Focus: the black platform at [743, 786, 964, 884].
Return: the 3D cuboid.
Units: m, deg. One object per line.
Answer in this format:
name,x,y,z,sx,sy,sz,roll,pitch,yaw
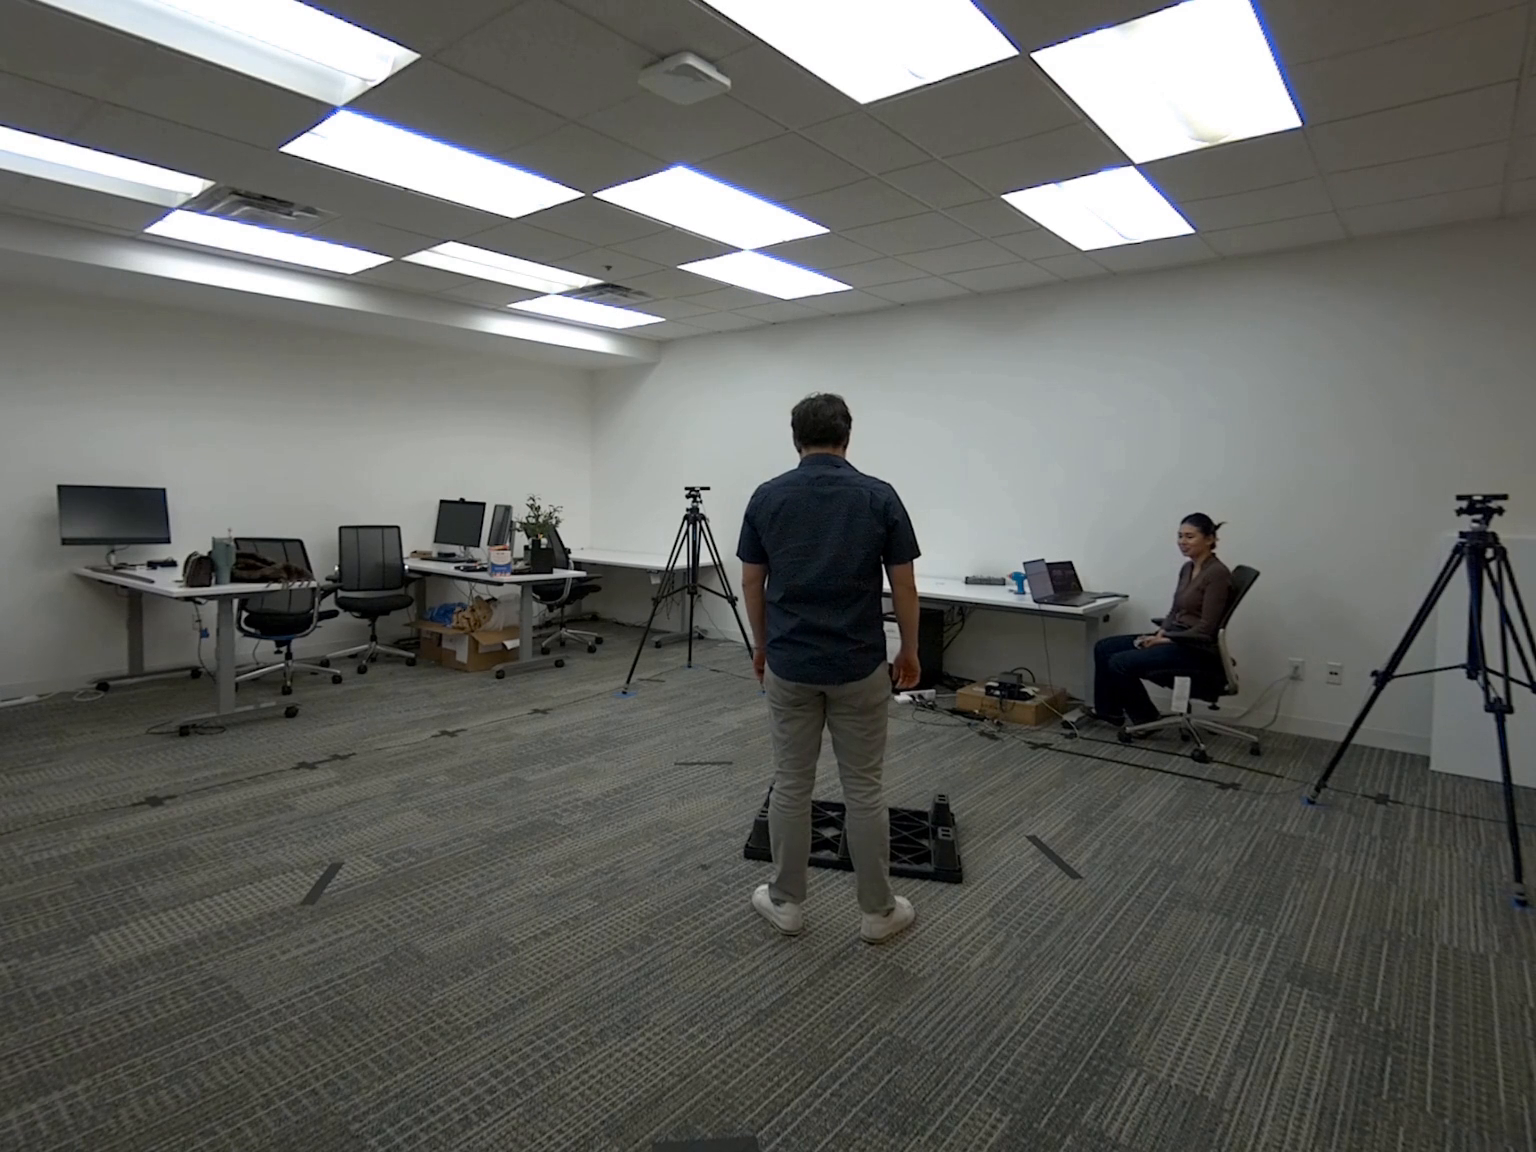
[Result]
black platform,0.346,0.981,3.397,0.816,0.143,0.600,3,6,11
